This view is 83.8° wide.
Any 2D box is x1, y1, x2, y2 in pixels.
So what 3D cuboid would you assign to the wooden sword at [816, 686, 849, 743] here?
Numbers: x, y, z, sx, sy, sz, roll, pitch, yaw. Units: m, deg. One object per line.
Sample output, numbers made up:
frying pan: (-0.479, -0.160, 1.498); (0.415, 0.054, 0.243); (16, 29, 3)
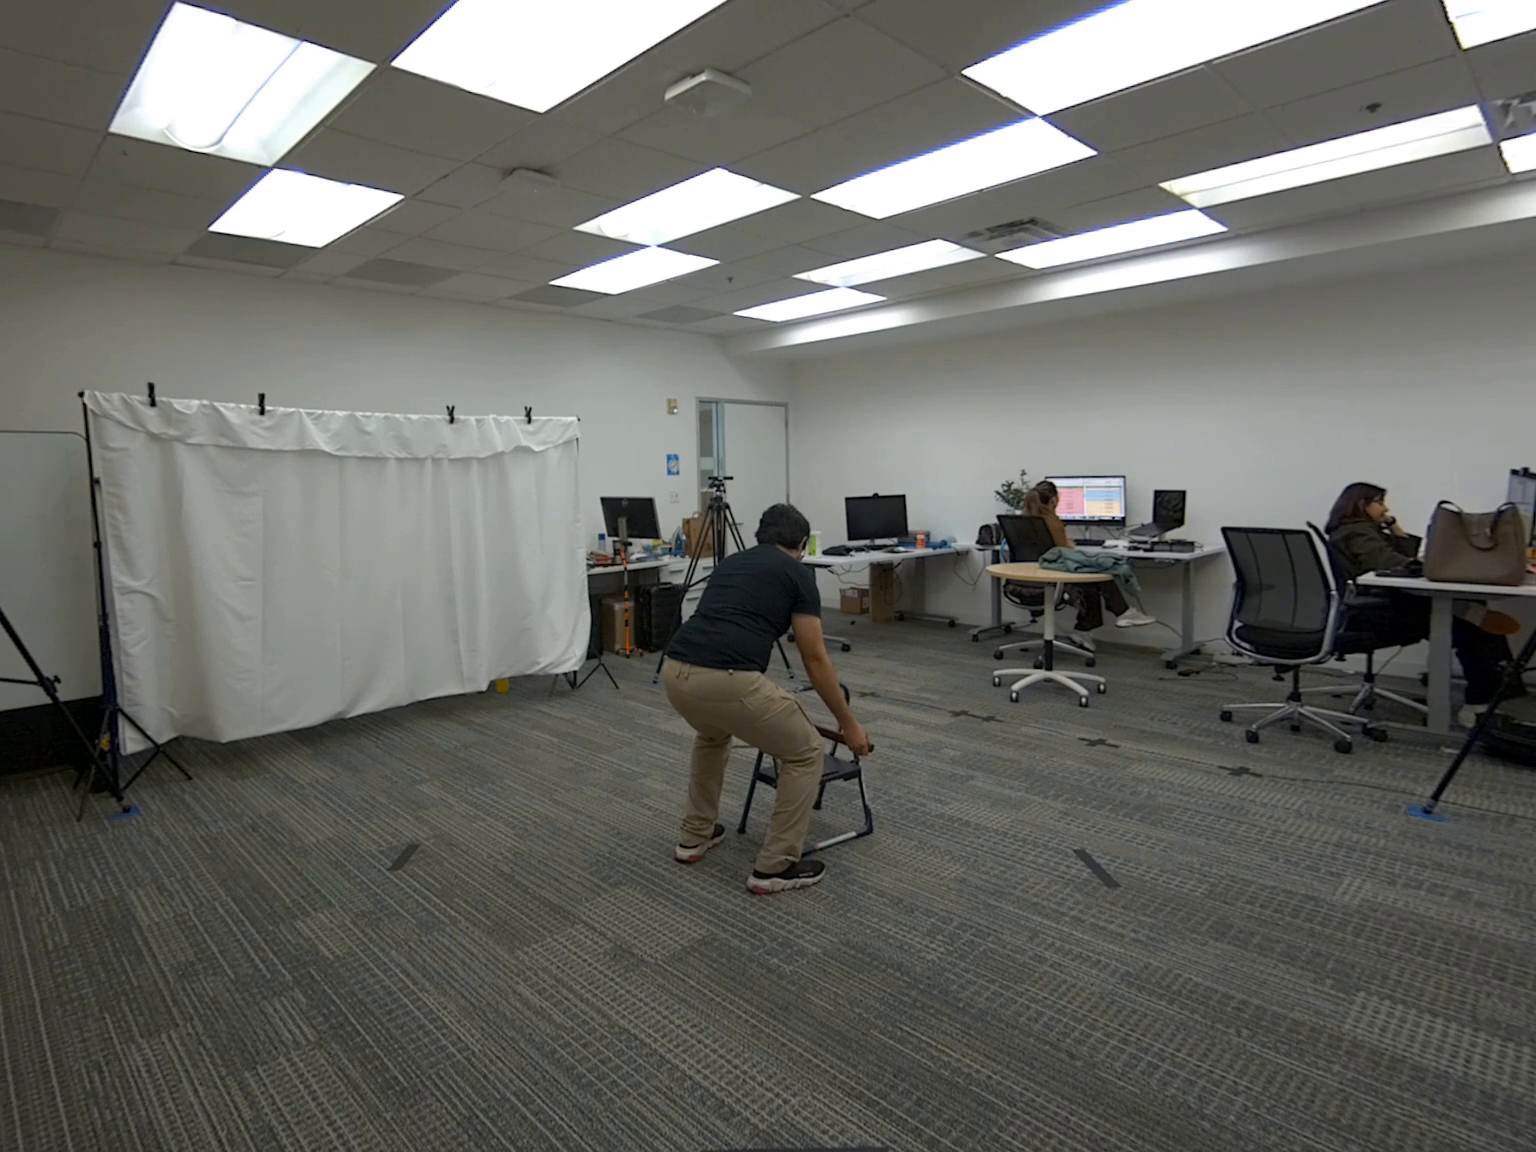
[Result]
wooden sword: (-0.014, 0.515, 3.386); (1.061, 0.051, 0.023); (16, -27, 45)
